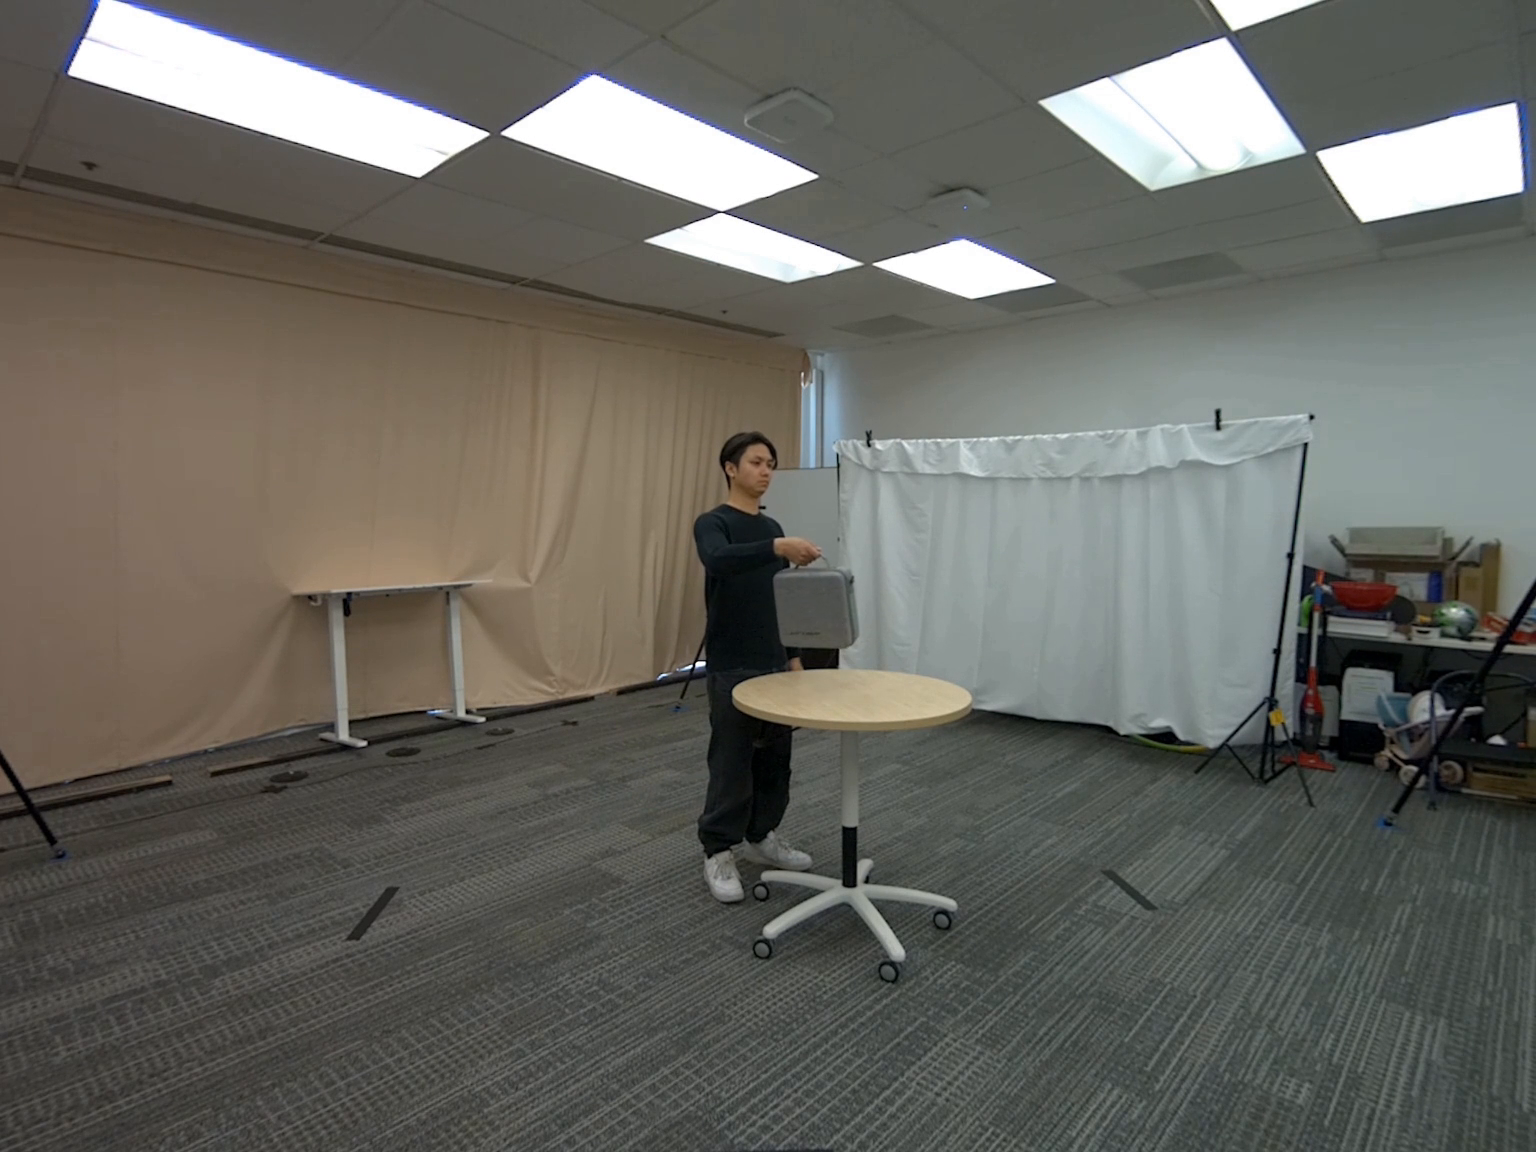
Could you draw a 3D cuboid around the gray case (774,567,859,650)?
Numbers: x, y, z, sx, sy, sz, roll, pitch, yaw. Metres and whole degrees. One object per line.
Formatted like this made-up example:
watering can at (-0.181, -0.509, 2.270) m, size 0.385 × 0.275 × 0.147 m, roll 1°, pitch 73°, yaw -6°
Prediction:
gray case at (0.156, 0.099, 2.715) m, size 0.264 × 0.259 × 0.102 m, roll -1°, pitch 9°, yaw 30°
